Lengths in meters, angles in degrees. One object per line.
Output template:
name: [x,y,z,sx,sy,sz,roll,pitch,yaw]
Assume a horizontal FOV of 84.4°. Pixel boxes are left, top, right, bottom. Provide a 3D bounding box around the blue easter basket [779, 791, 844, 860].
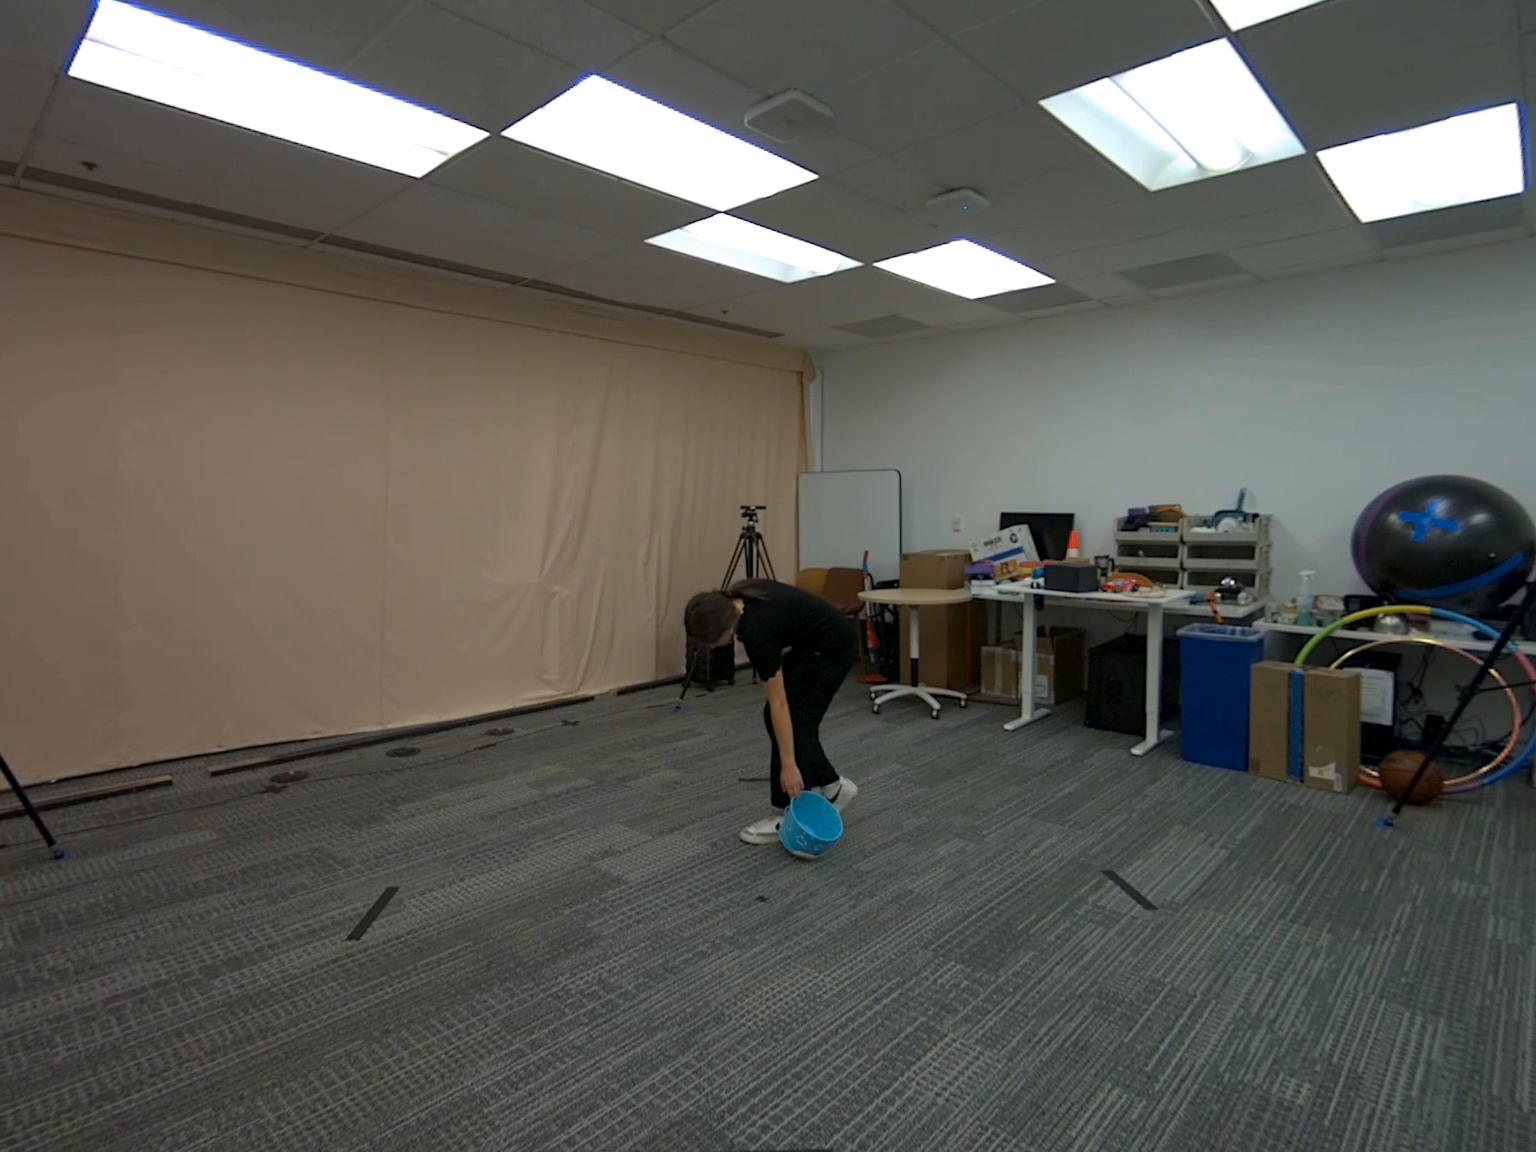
blue easter basket: [0.164,0.995,3.338,0.240,0.155,0.248,19,28,-13]
